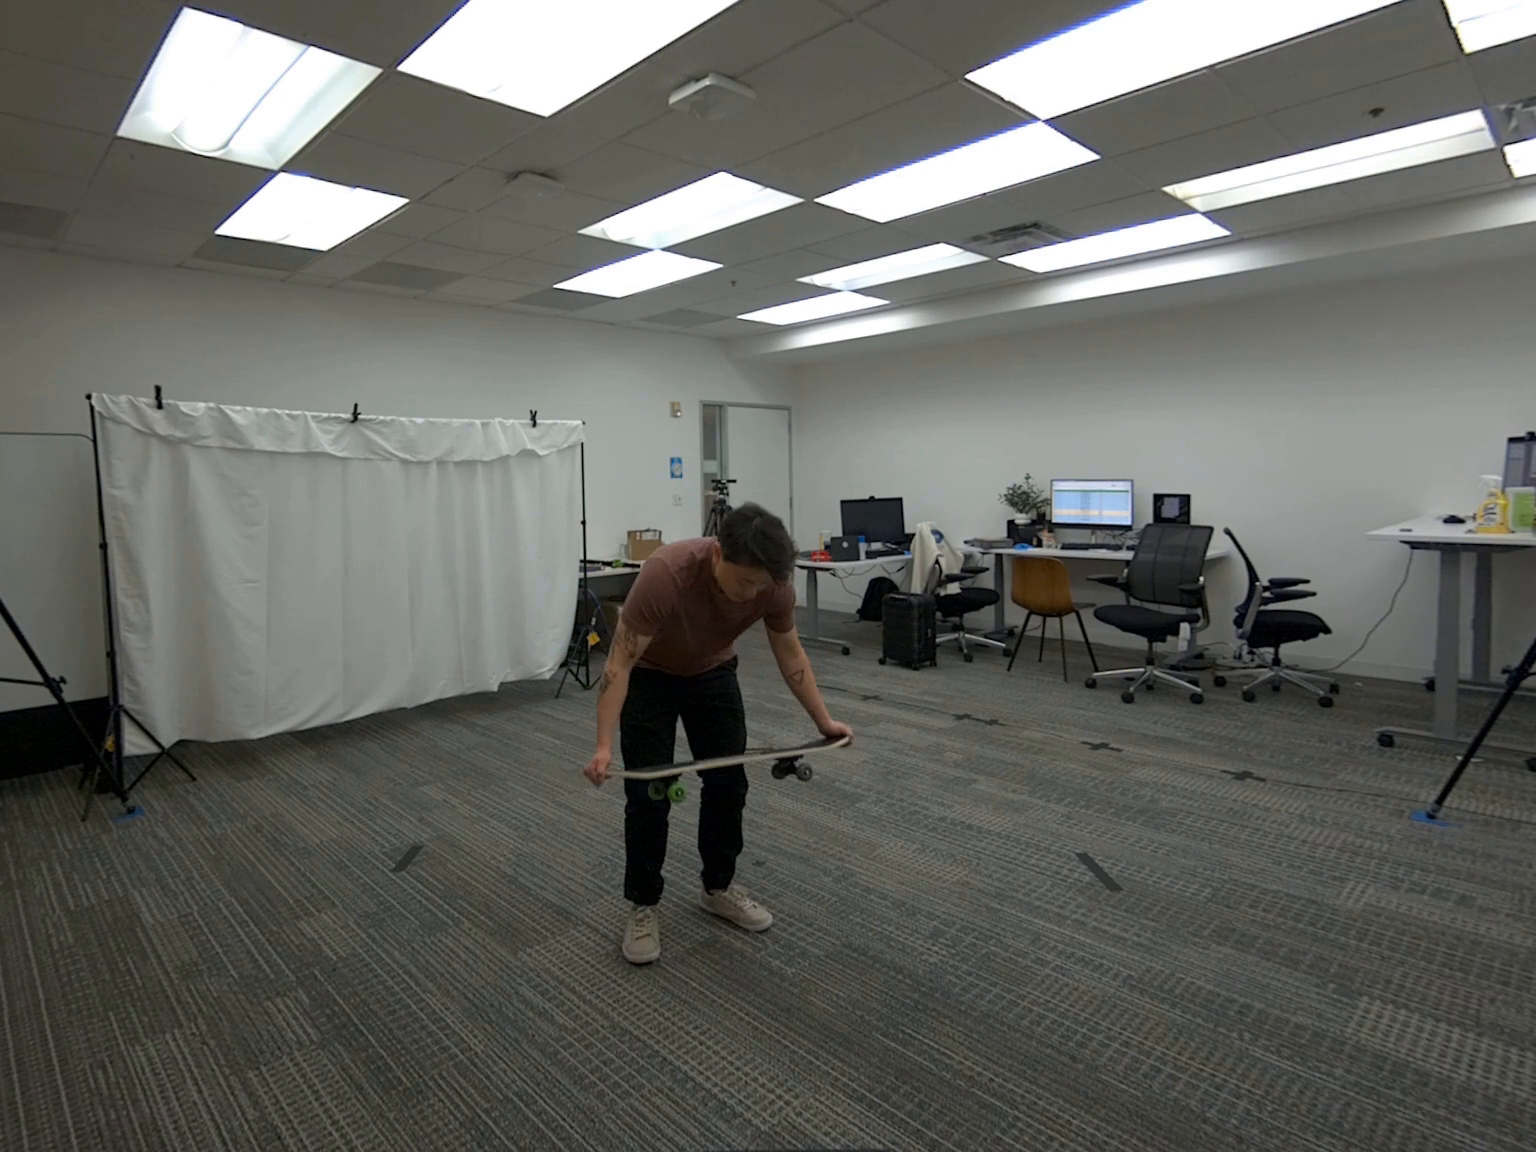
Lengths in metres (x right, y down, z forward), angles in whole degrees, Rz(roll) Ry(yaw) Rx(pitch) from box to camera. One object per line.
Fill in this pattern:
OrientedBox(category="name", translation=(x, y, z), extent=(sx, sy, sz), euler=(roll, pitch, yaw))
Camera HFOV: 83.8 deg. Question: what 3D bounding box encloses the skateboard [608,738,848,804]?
OrientedBox(category="skateboard", translation=(-0.111, 0.561, 2.461), extent=(0.769, 0.112, 0.195), euler=(-4, -11, -25))
